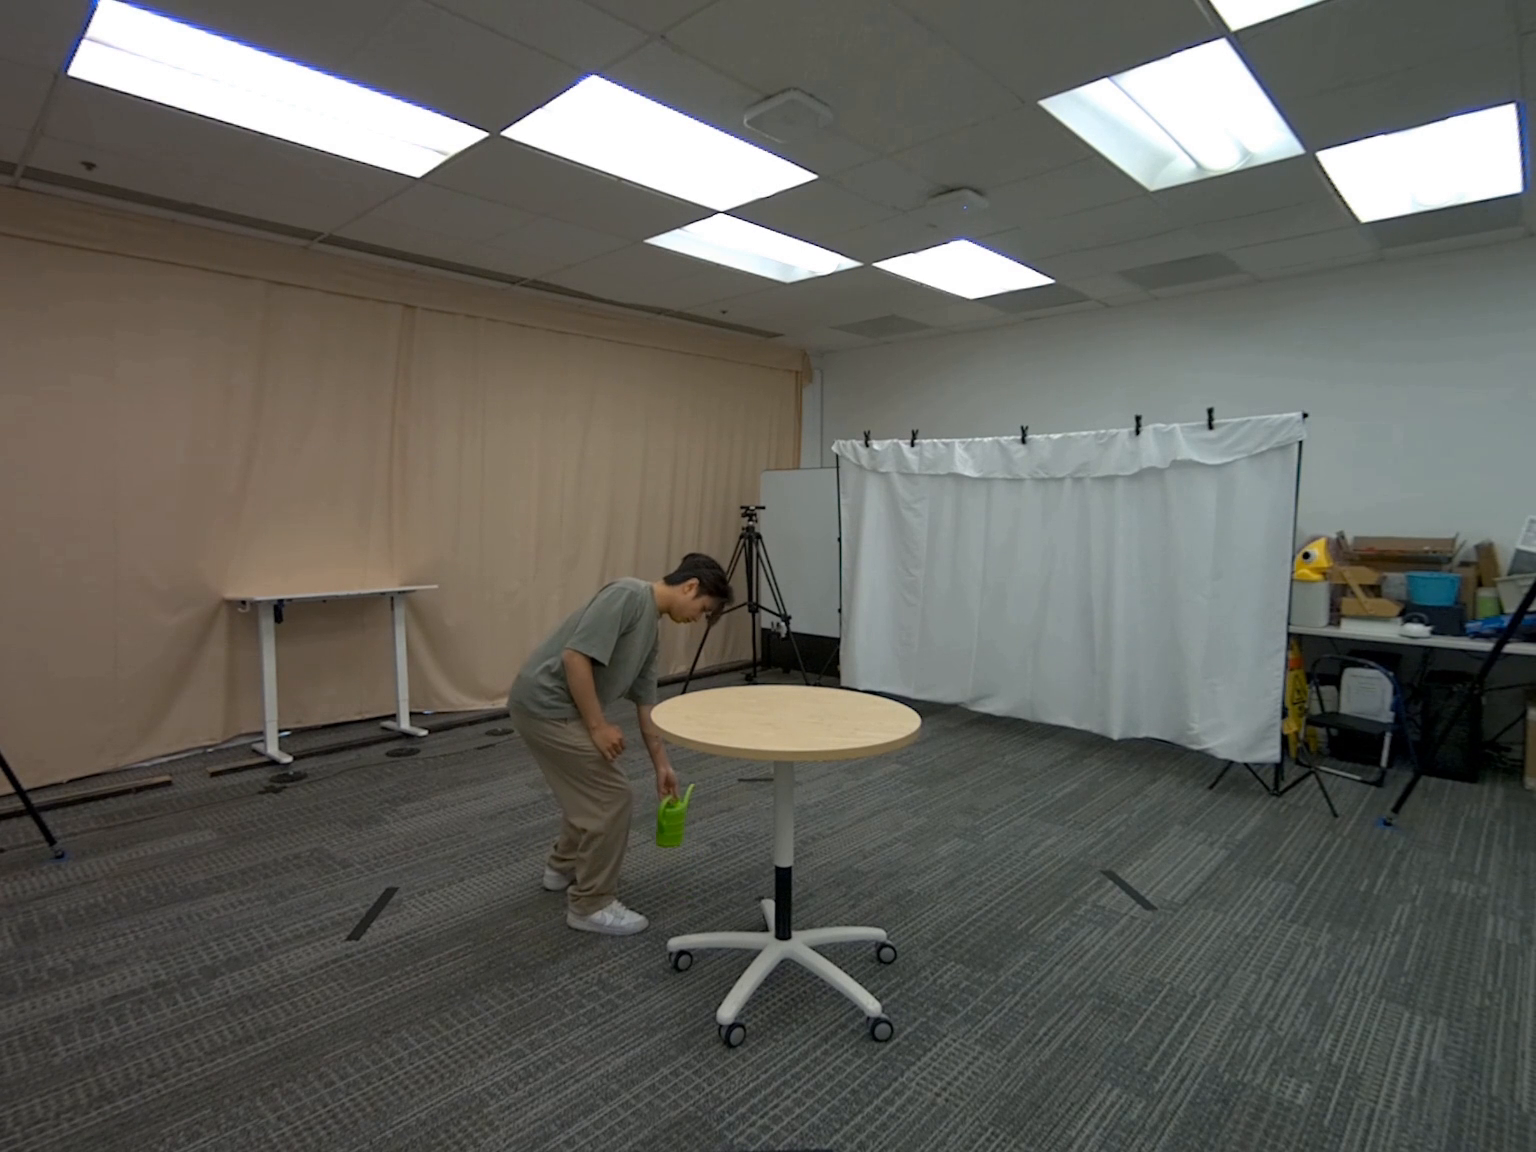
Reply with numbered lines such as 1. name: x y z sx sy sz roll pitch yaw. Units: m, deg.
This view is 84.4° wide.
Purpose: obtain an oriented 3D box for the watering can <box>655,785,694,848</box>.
1. watering can: -0.333 0.892 3.109 0.101 0.177 0.269 5 0 34
